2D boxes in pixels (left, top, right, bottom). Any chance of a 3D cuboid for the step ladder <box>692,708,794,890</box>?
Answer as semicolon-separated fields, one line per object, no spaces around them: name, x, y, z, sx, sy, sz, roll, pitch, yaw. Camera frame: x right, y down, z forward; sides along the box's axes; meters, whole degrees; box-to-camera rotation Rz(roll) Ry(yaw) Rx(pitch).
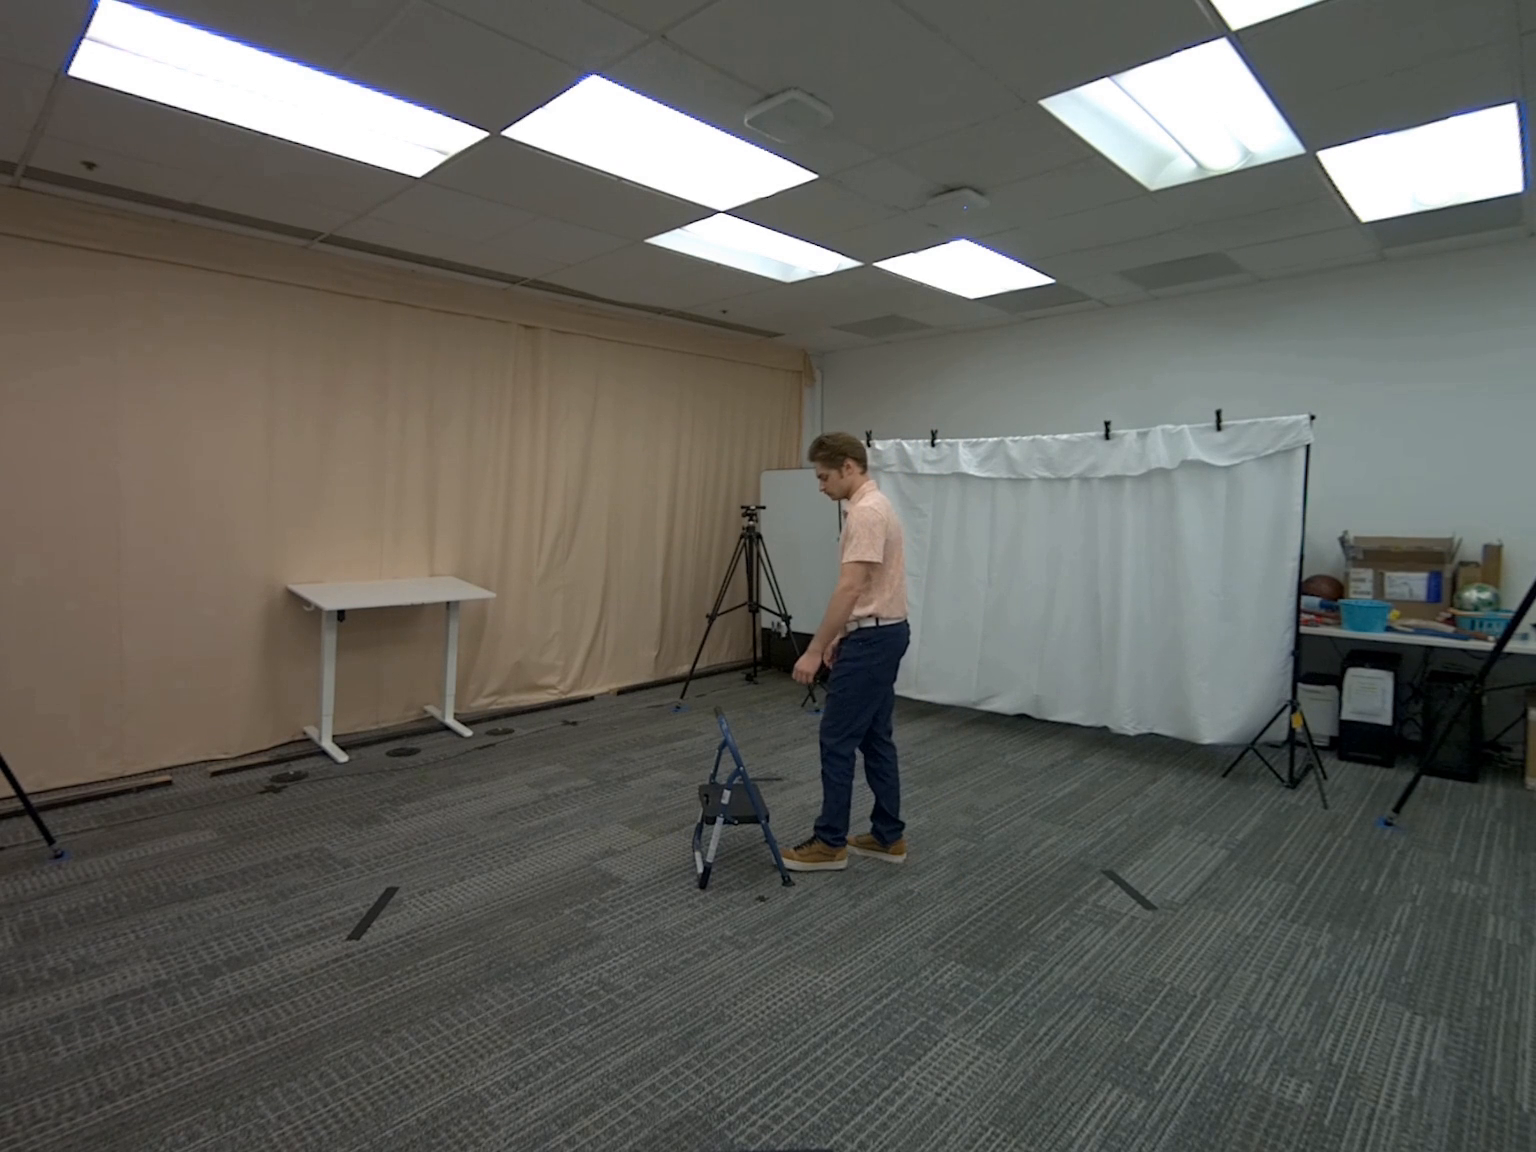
step ladder;-0.109;0.821;3.260;0.346;0.605;0.435;-1;3;-9
